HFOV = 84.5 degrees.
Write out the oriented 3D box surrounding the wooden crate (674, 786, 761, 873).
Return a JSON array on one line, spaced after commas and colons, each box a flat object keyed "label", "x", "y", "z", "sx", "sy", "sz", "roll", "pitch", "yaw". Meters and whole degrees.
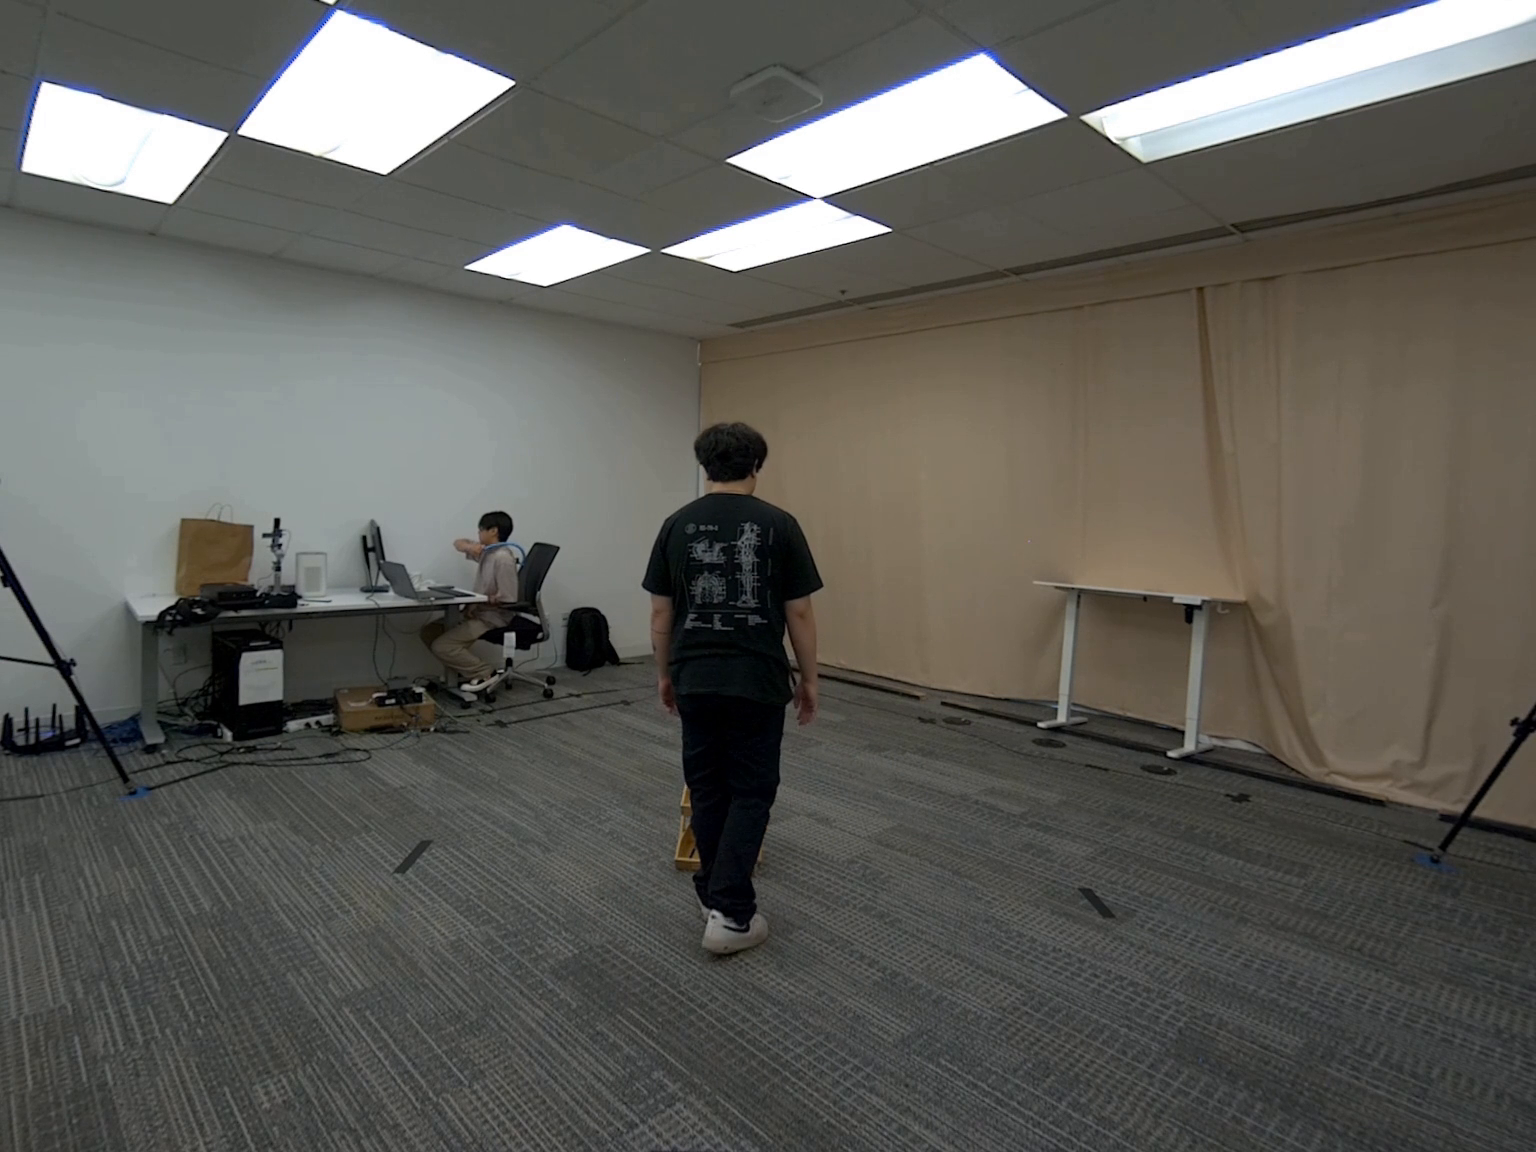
[{"label": "wooden crate", "x": -0.184, "y": 0.964, "z": 3.248, "sx": 0.326, "sy": 0.273, "sz": 0.301, "roll": 2, "pitch": 3, "yaw": 6}]
